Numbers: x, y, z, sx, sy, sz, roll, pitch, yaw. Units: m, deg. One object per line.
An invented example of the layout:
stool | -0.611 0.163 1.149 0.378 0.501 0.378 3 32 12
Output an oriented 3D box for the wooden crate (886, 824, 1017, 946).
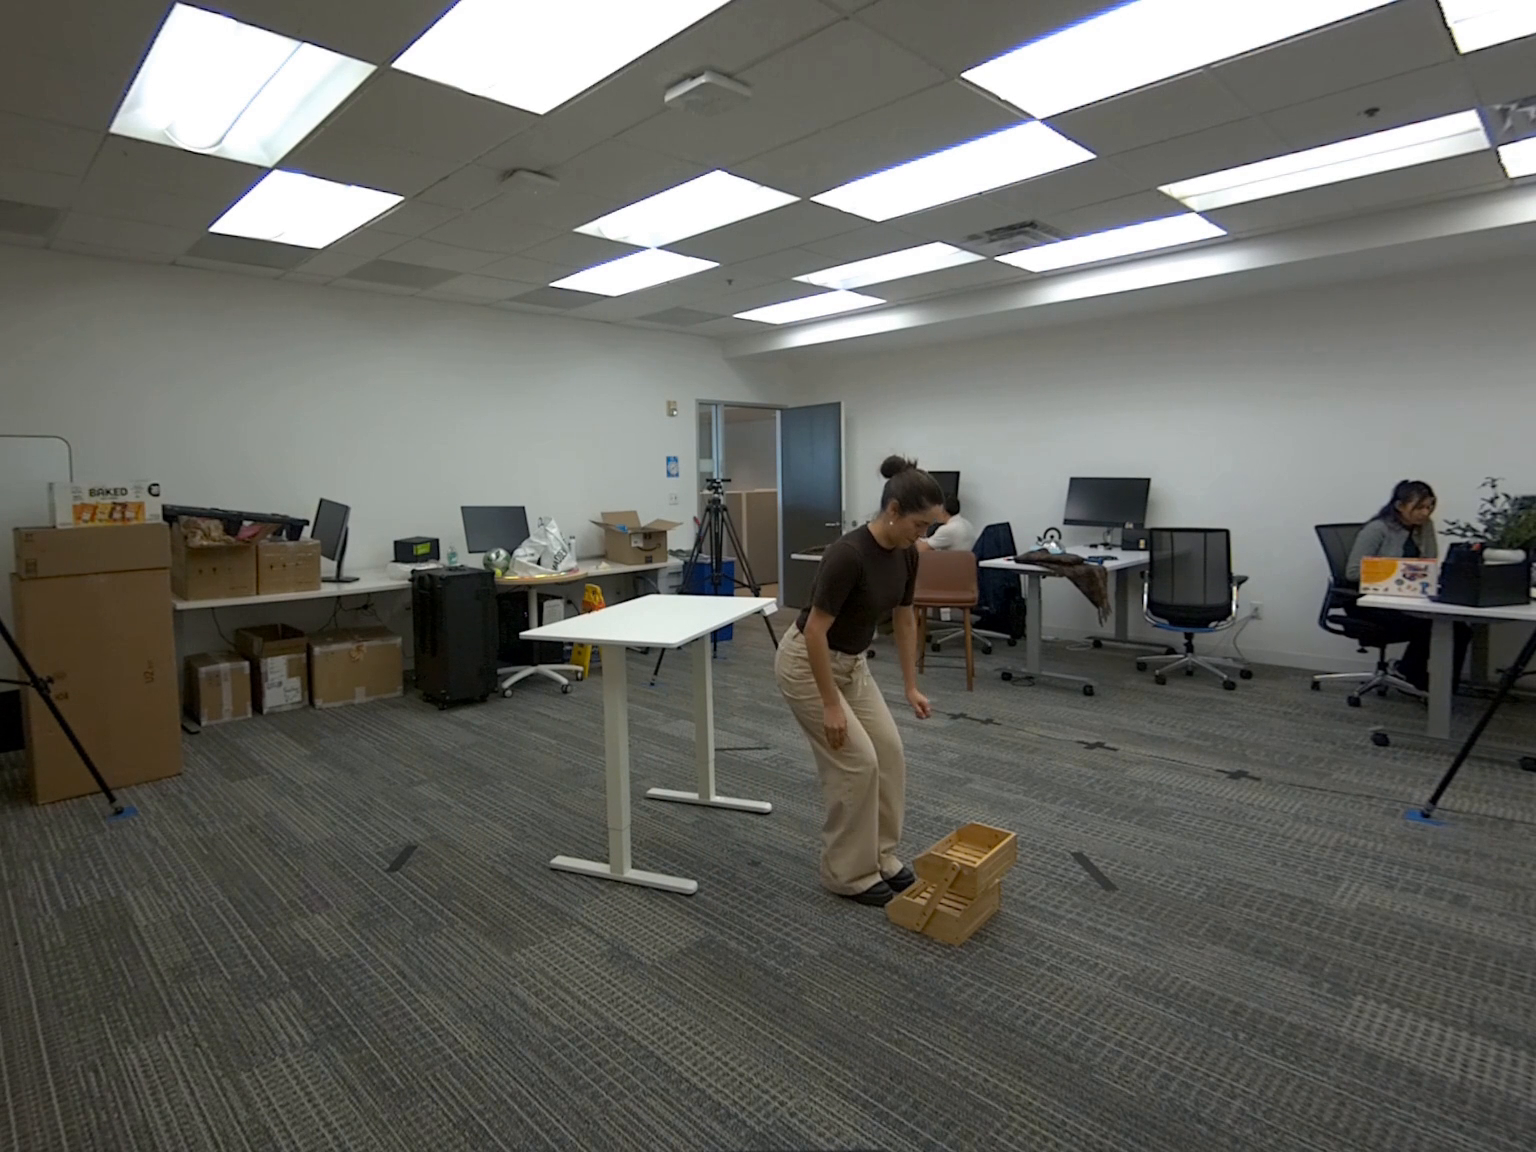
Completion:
wooden crate | 0.581 0.944 2.696 0.311 0.272 0.316 5 8 39
